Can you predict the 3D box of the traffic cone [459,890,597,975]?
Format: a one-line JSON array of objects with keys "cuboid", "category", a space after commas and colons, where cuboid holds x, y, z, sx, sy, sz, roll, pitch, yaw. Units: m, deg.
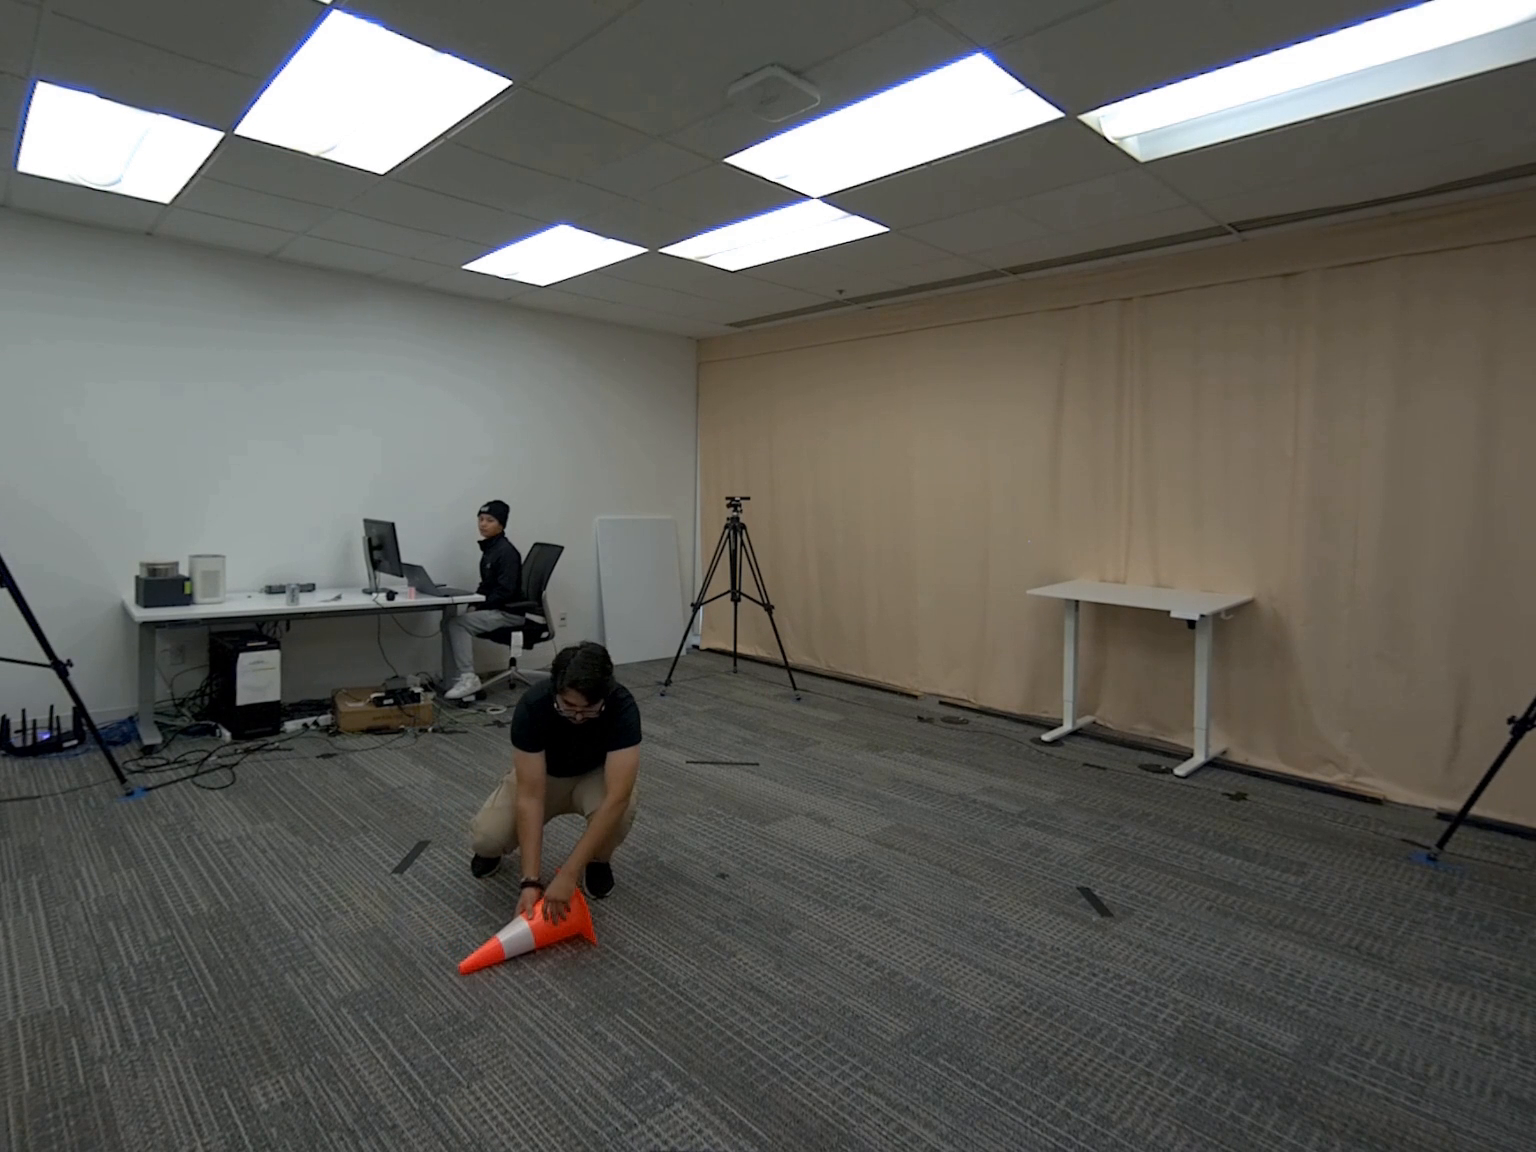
[{"cuboid": [-0.760, 1.099, 2.538, 0.378, 0.200, 0.211, -21, 25, -35], "category": "traffic cone"}]
